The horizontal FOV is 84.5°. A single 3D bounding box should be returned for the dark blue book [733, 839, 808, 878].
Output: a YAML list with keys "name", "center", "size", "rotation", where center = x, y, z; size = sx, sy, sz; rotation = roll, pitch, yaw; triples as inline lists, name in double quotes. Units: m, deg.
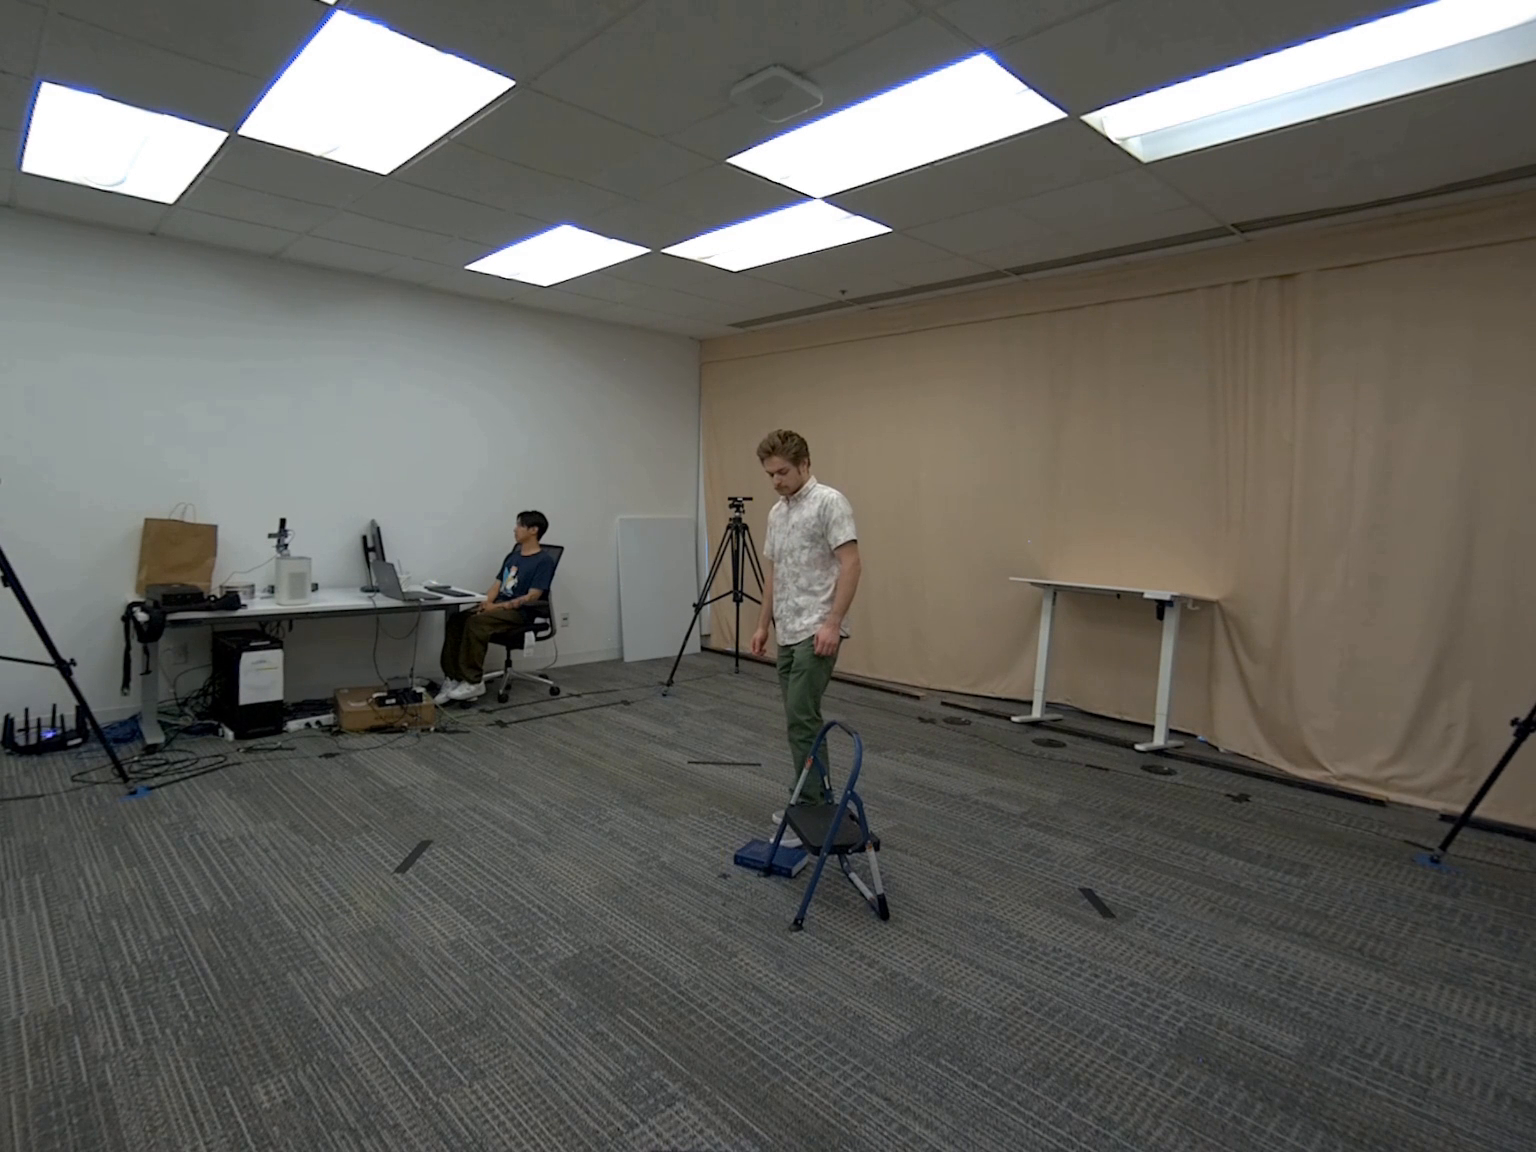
- name: "dark blue book"
  center: [0.006, 1.077, 3.213]
  size: [0.250, 0.045, 0.160]
  rotation: [2, 5, 27]
